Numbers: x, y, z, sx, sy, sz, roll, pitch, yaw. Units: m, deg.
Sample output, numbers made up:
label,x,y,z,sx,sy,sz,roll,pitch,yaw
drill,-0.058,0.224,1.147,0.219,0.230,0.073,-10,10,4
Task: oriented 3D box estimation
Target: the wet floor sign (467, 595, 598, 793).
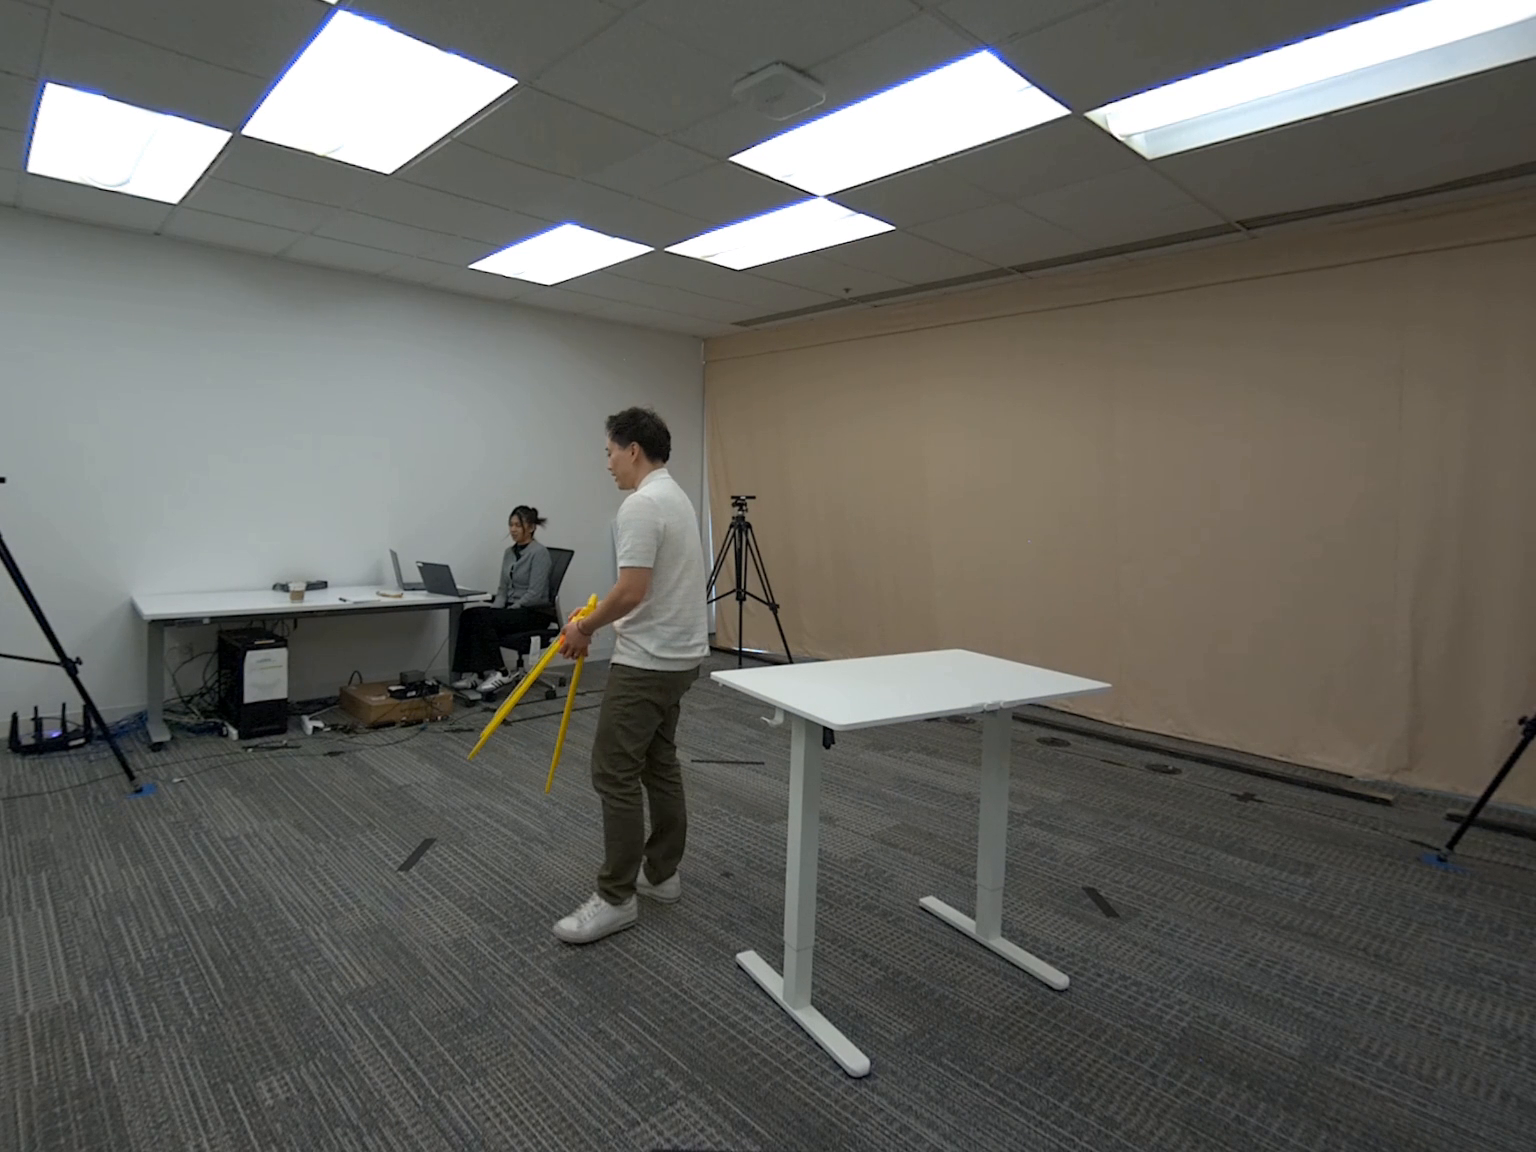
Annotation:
label,x,y,z,sx,sy,sz,roll,pitch,yaw
wet floor sign,-0.745,0.367,2.909,0.287,0.645,0.285,26,5,-9
